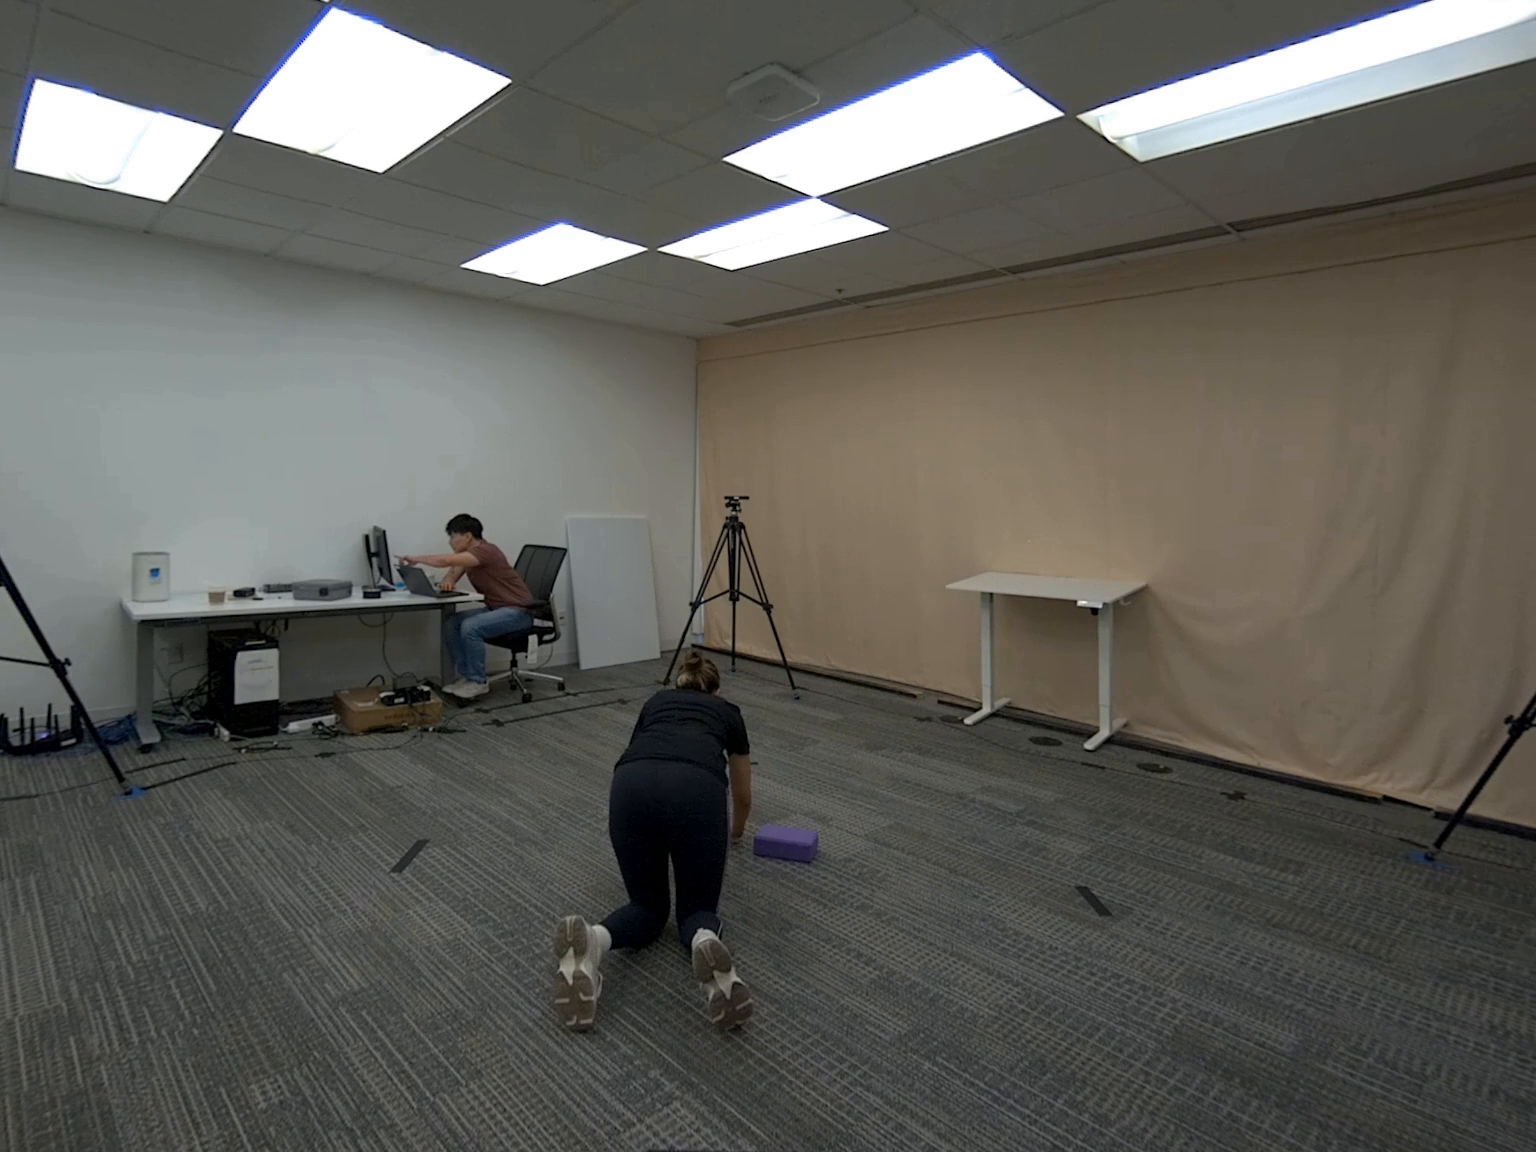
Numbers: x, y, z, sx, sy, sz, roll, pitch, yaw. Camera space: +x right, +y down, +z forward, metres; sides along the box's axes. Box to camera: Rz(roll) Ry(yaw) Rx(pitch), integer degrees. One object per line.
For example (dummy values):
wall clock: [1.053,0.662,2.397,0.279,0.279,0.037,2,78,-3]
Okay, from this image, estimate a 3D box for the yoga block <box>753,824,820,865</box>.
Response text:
yoga block: [0.064,1.051,3.310,0.232,0.076,0.147,2,5,17]
